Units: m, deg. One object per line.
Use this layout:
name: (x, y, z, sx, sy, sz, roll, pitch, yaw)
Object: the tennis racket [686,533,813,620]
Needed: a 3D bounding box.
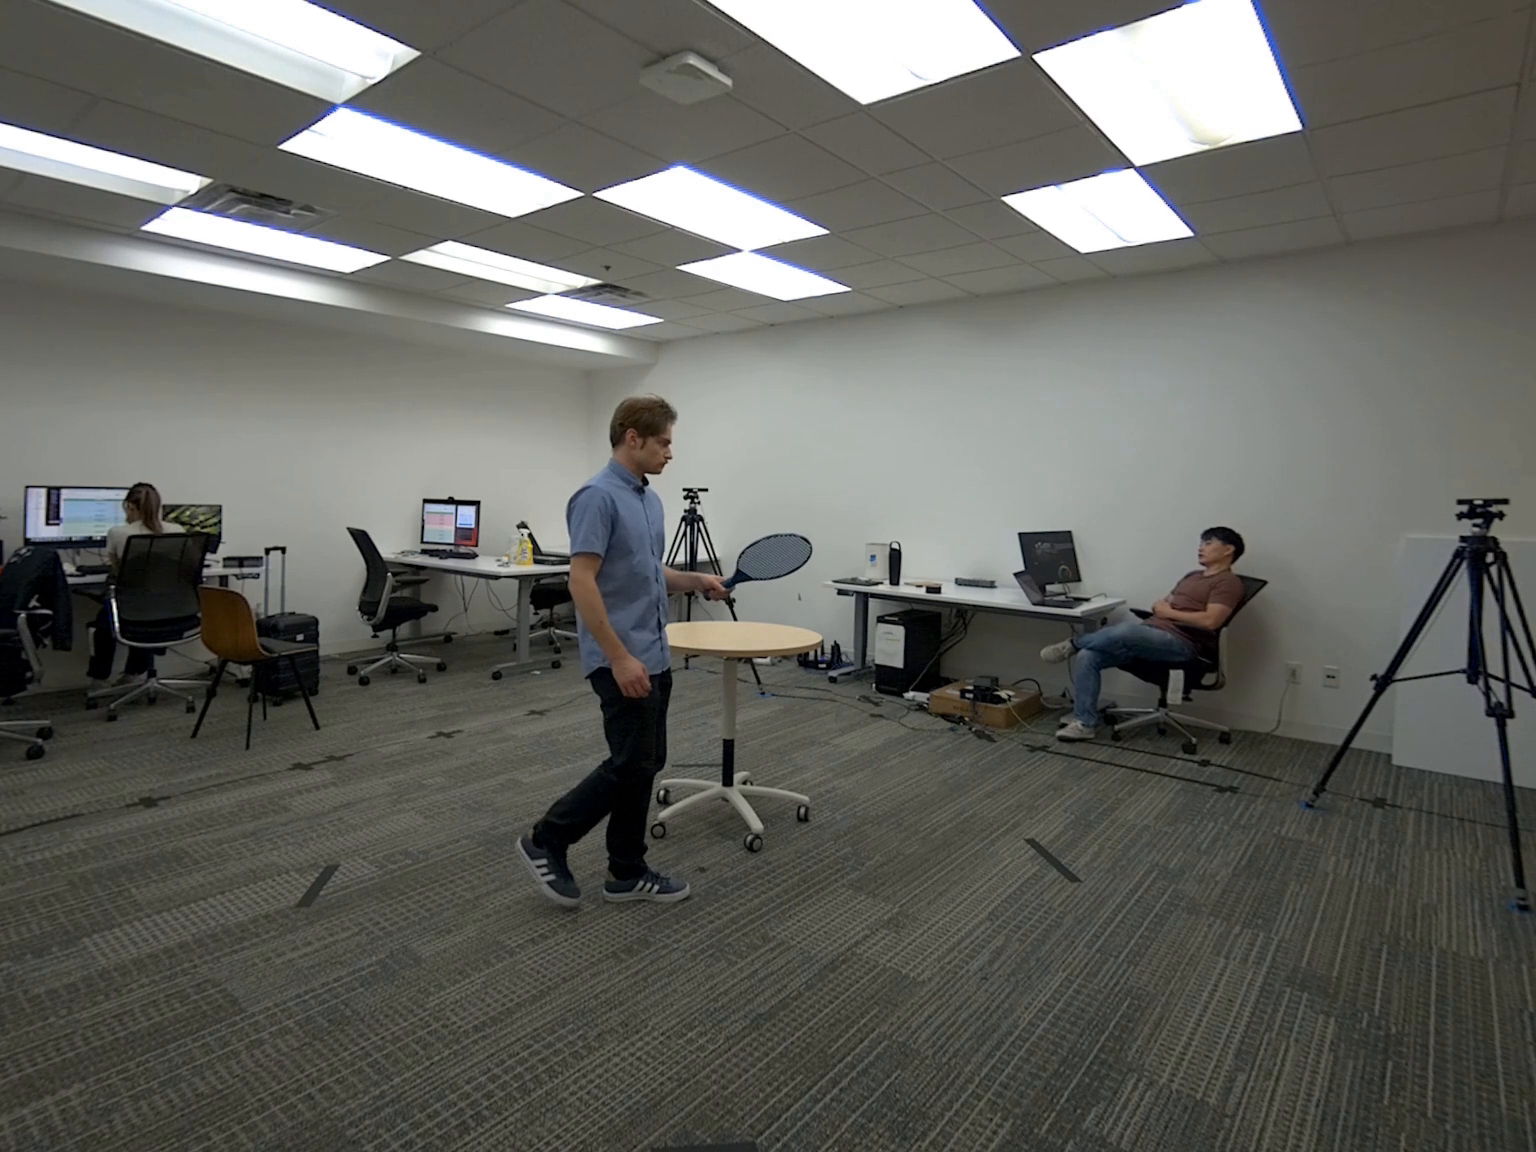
tennis racket: (-0.062, -0.017, 2.796, 0.437, 0.033, 0.205, -30, -48, 26)
